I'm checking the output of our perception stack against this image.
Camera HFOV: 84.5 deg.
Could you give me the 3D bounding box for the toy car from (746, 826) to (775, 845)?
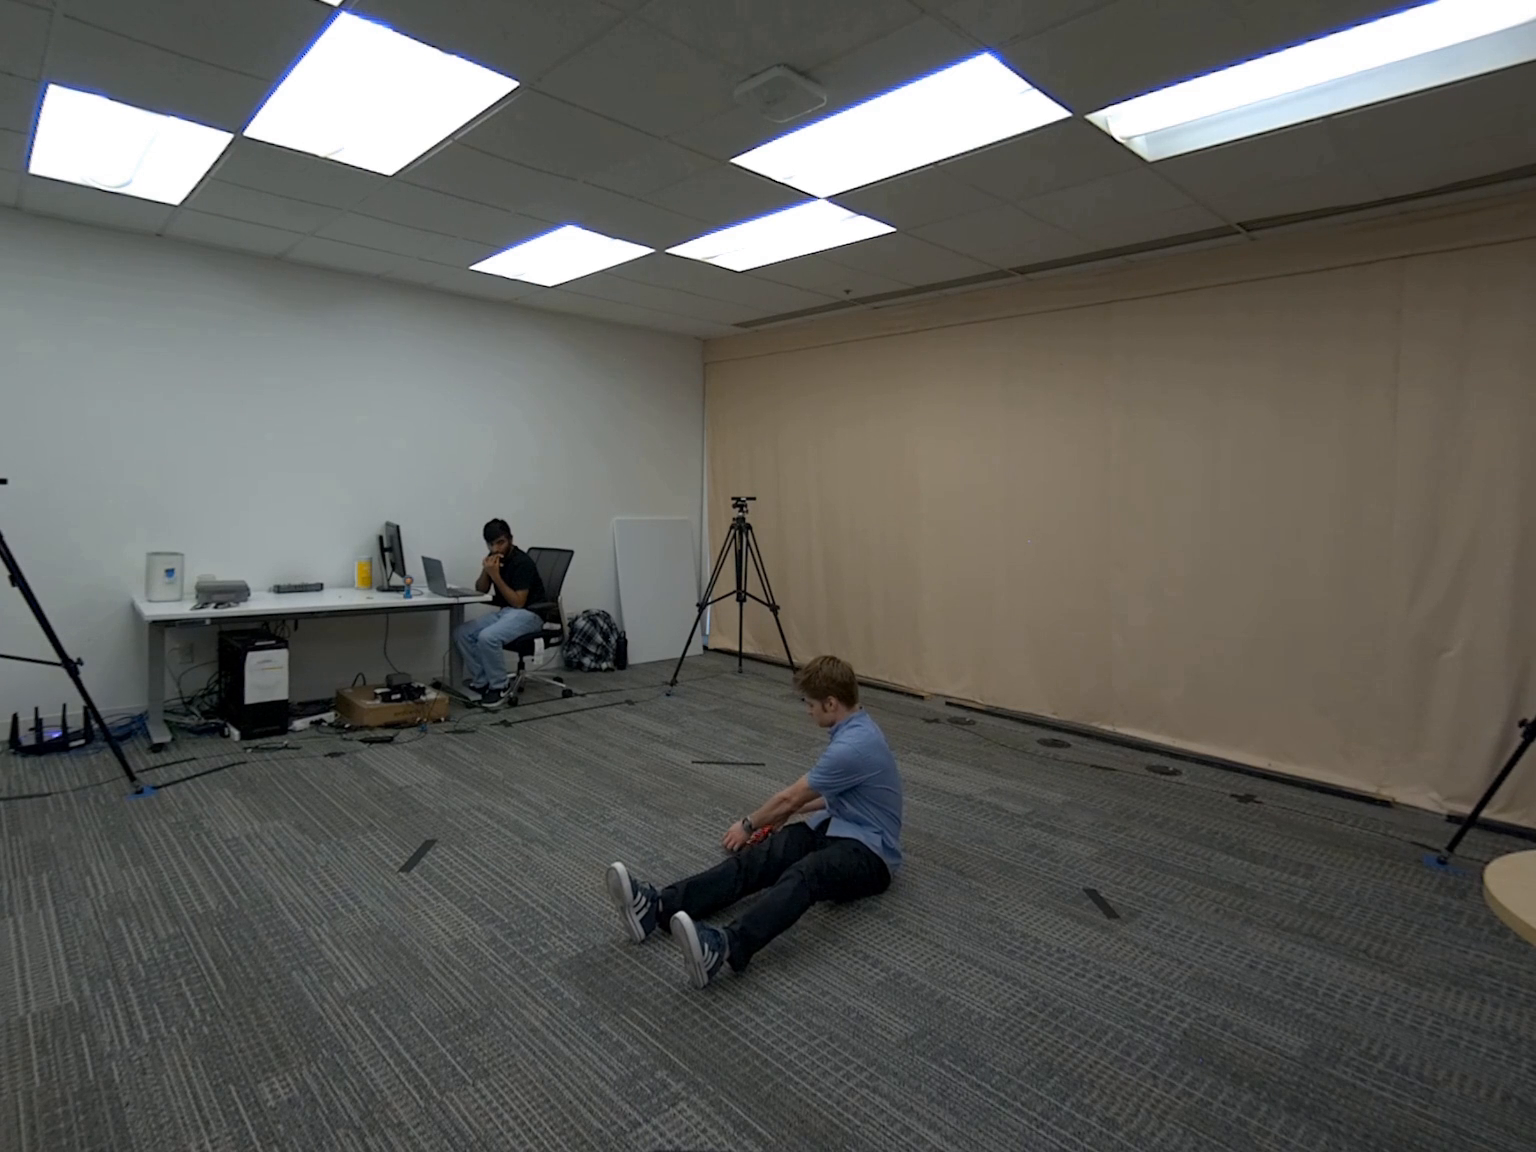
[{"bbox_3d":[-0.075,1.052,3.415,0.133,0.082,0.252,1,14,27],"label":"toy car"}]
